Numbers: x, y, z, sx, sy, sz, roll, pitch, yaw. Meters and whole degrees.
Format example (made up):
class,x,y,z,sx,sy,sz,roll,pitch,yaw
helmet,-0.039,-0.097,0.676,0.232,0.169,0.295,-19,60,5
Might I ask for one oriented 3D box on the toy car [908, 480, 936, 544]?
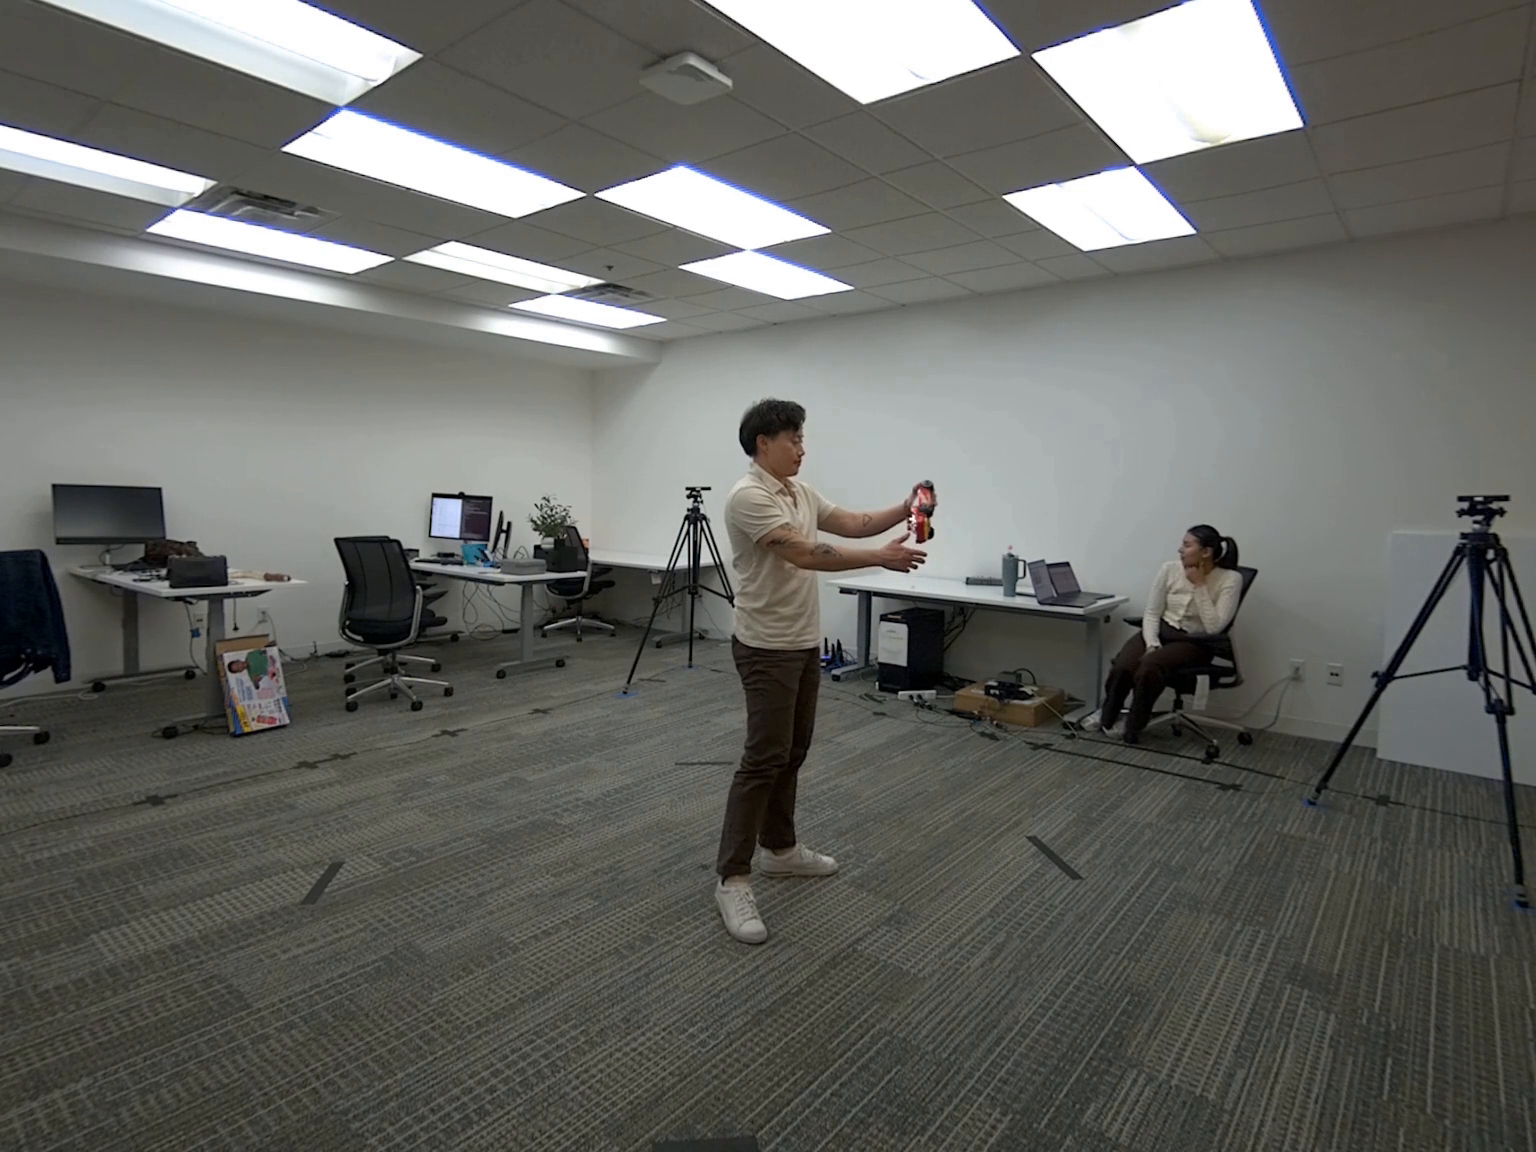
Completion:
class,x,y,z,sx,sy,sz,roll,pitch,yaw
toy car,0.509,-0.199,2.827,0.085,0.126,0.257,4,40,22
